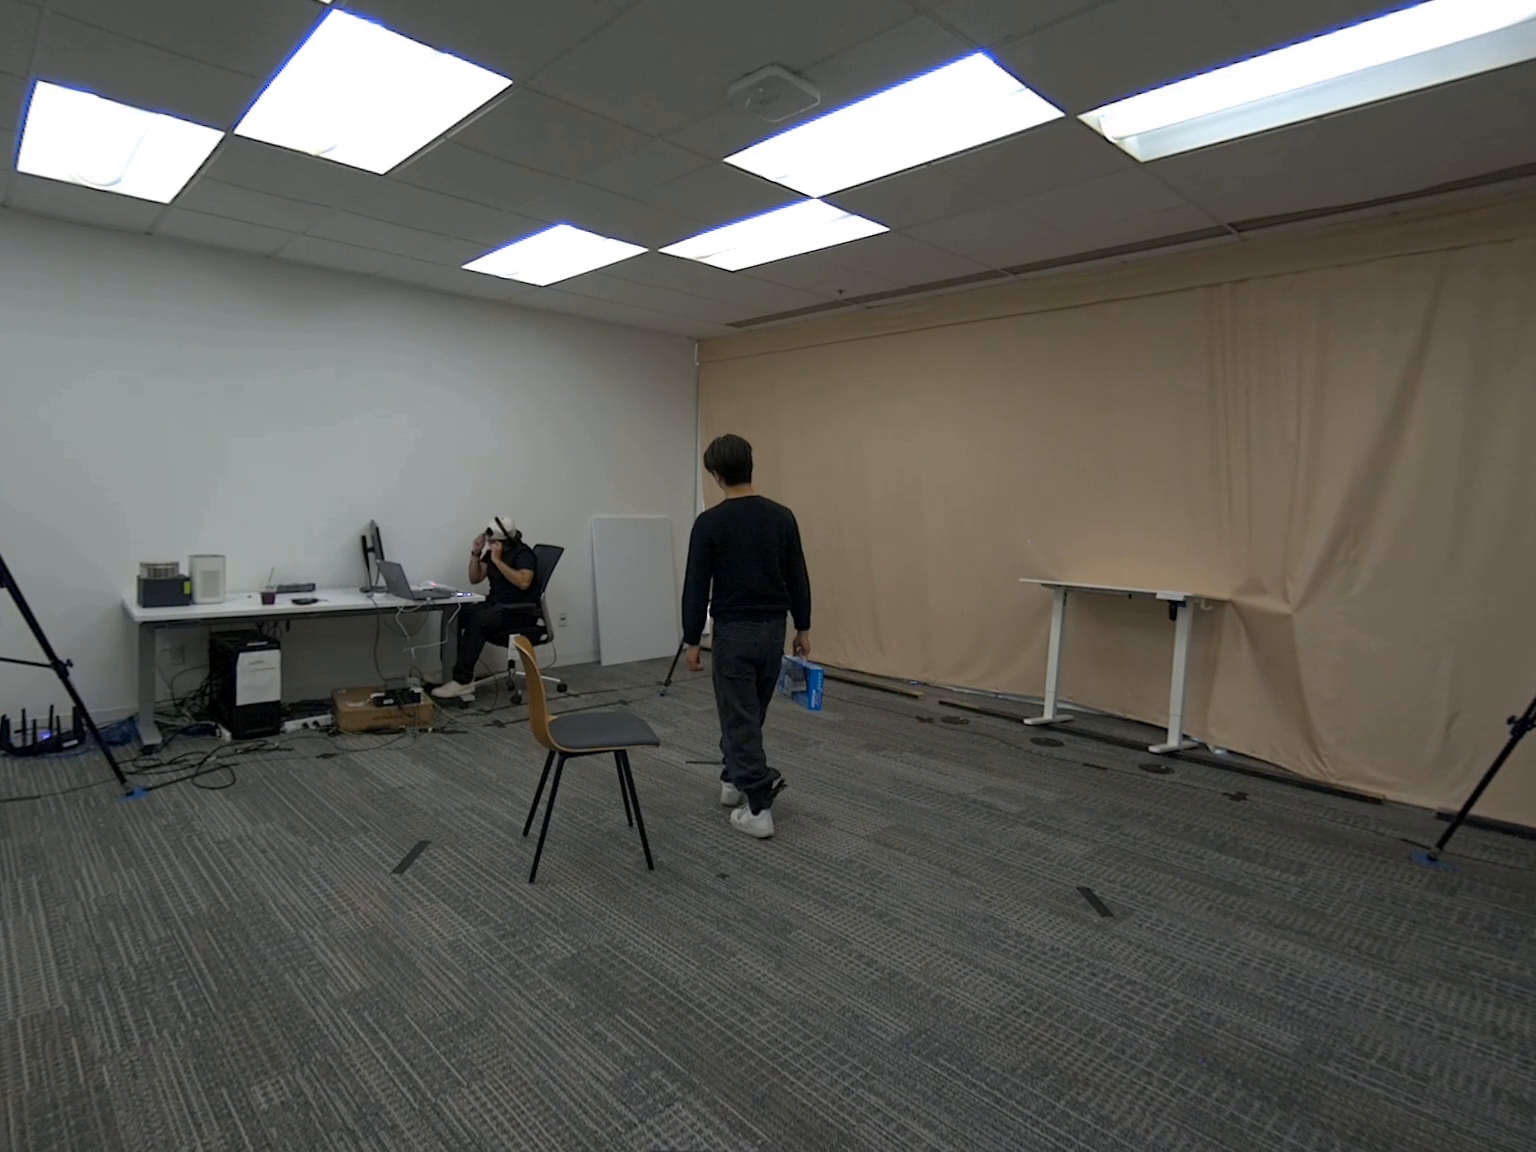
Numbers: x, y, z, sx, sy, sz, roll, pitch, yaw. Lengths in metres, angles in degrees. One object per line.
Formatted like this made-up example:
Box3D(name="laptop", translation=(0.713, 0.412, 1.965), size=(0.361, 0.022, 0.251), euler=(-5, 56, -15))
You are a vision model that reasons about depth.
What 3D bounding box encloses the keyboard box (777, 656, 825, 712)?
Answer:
Box3D(name="keyboard box", translation=(0.130, 0.463, 3.734), size=(0.058, 0.176, 0.442), euler=(4, 1, -15))
